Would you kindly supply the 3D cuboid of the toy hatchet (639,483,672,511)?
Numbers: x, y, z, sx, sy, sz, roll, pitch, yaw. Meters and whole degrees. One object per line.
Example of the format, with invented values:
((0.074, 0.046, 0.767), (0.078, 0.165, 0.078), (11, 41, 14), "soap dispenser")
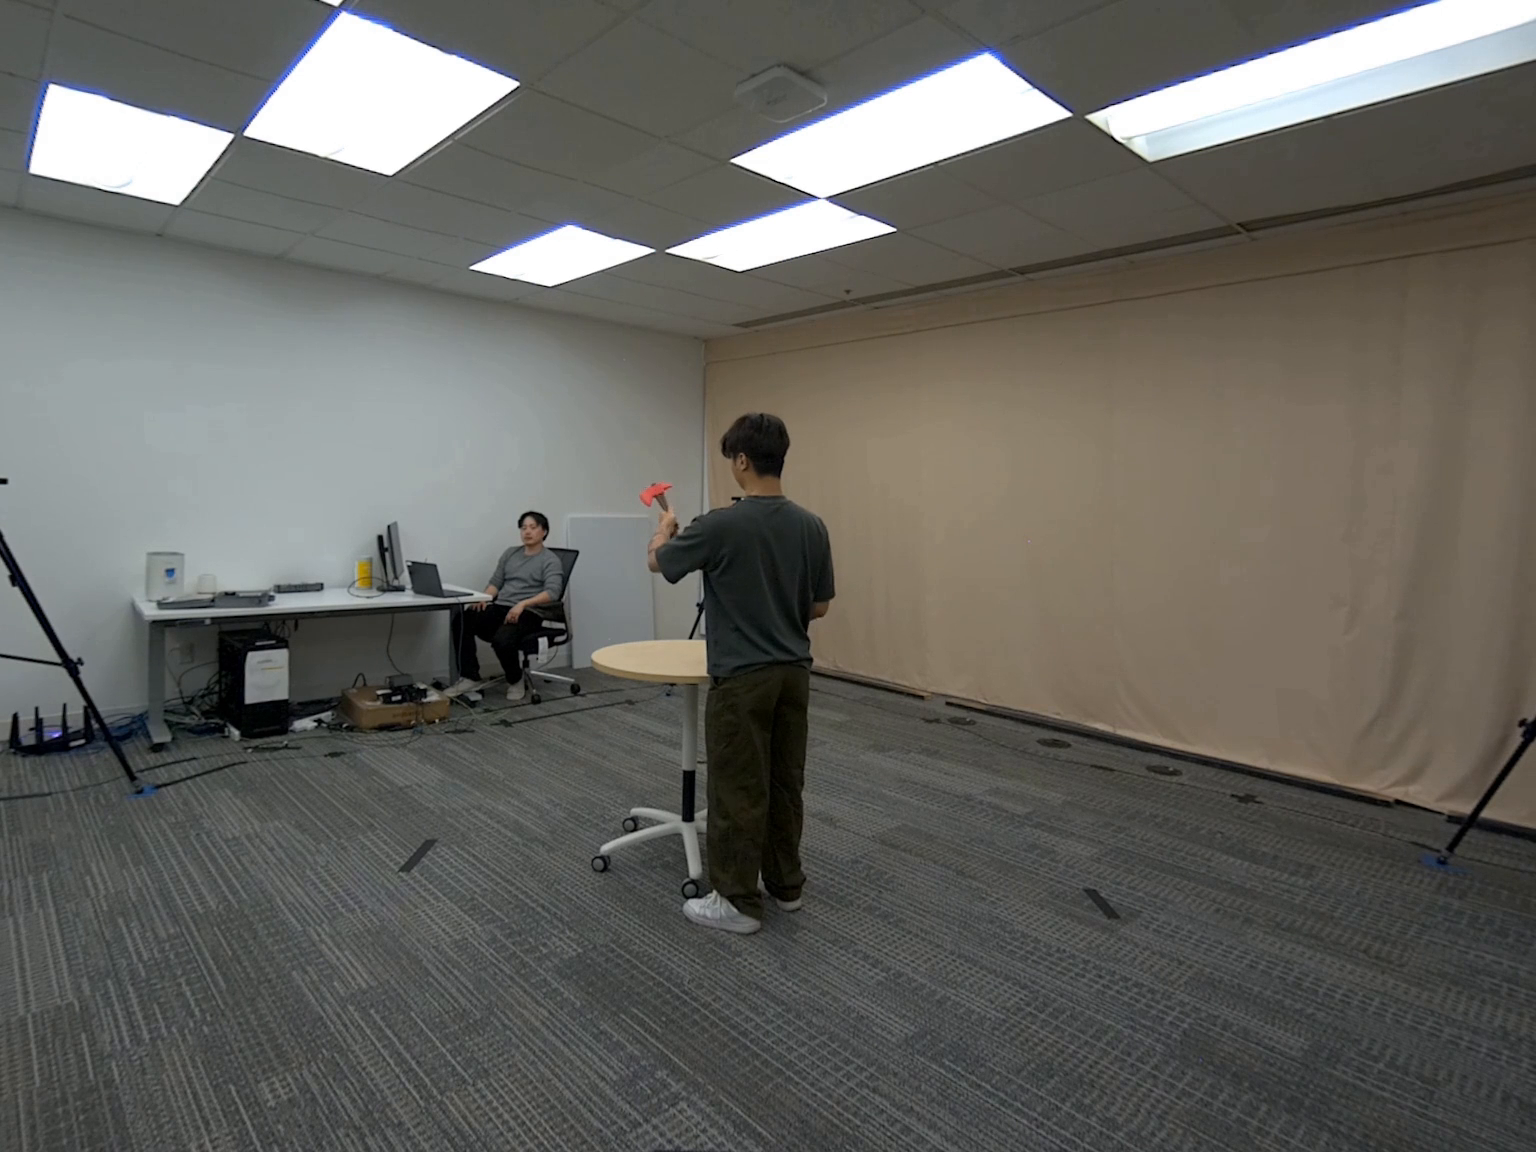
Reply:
((-0.405, -0.224, 3.102), (0.130, 0.275, 0.029), (-6, -26, -7), "toy hatchet")
